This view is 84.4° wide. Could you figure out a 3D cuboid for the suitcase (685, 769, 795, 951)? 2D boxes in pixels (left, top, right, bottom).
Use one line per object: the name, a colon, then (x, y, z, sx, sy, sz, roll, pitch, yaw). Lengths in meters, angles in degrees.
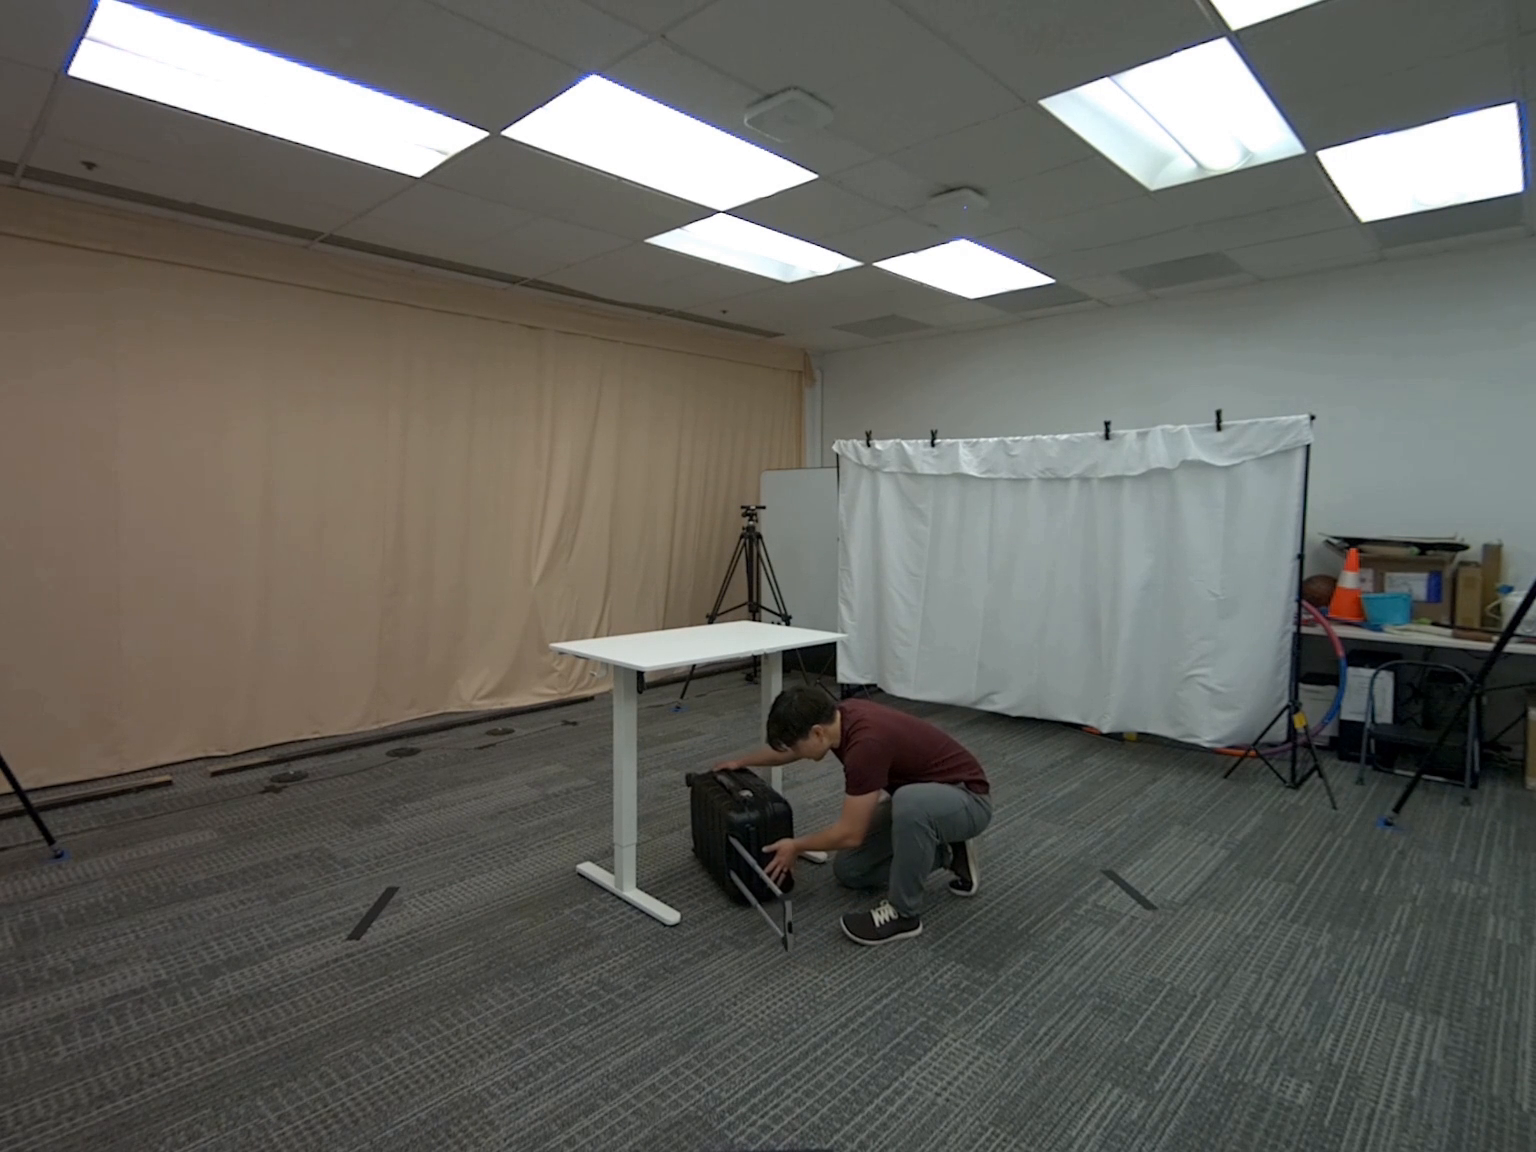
suitcase: (-0.027, 0.955, 2.934, 0.252, 0.383, 1.000, -5, 4, -21)
